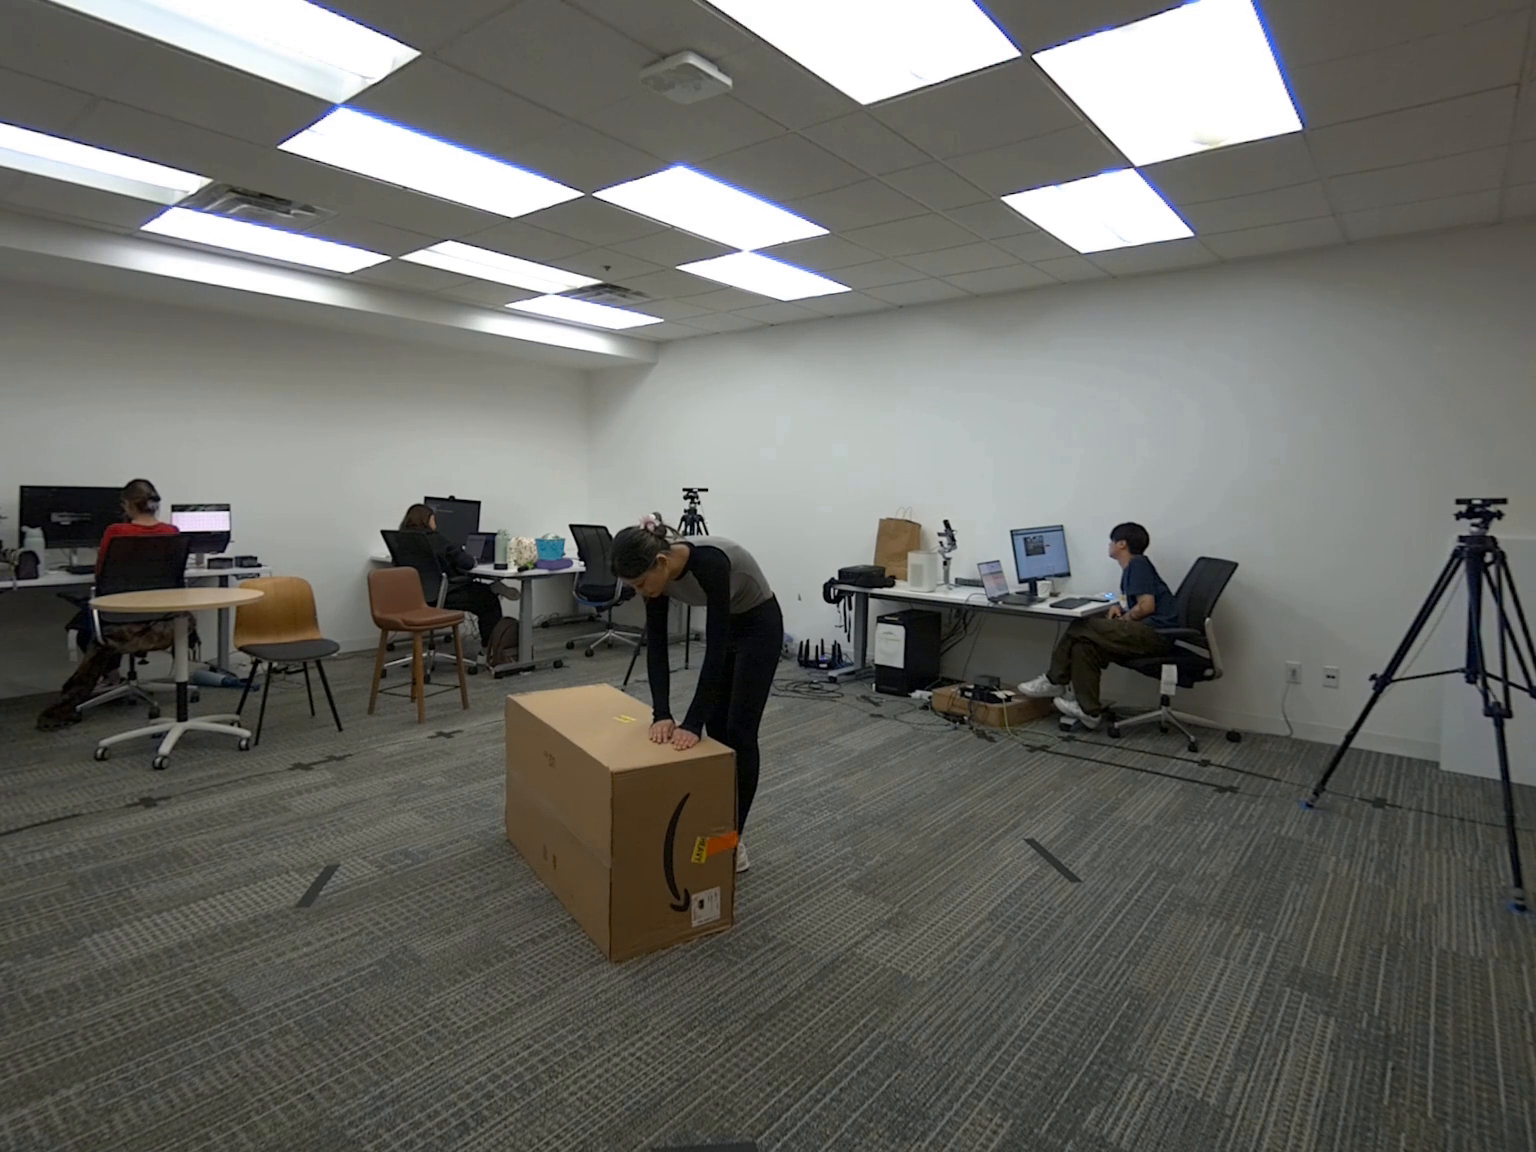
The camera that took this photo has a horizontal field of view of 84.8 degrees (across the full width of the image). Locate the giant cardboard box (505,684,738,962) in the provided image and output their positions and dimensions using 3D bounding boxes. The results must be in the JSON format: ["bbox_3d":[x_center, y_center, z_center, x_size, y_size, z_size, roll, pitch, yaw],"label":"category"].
[{"bbox_3d":[-0.575,0.787,2.999,0.414,0.575,1.059,-1,6,-32],"label":"giant cardboard box"}]
